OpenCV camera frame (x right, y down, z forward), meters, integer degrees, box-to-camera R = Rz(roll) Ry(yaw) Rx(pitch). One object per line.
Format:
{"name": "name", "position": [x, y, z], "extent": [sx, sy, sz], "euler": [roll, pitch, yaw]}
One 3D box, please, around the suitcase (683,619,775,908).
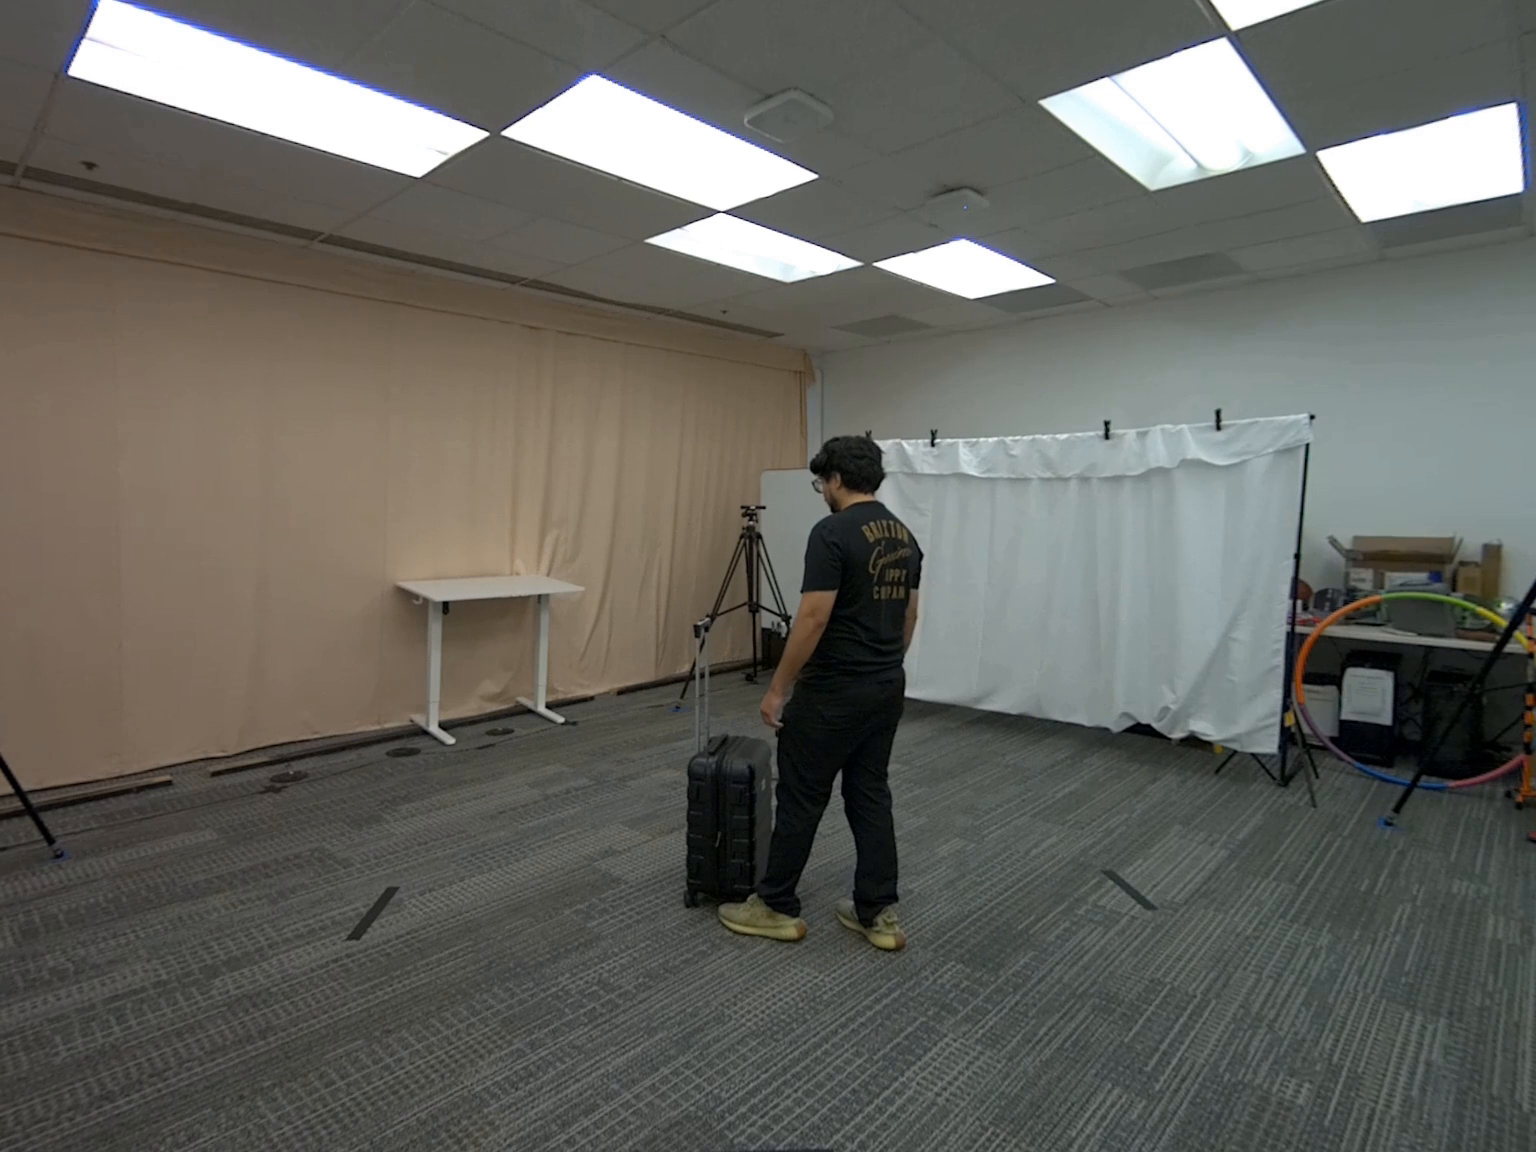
{"name": "suitcase", "position": [-0.128, 0.666, 3.009], "extent": [0.261, 0.976, 0.379], "euler": [4, 4, 12]}
